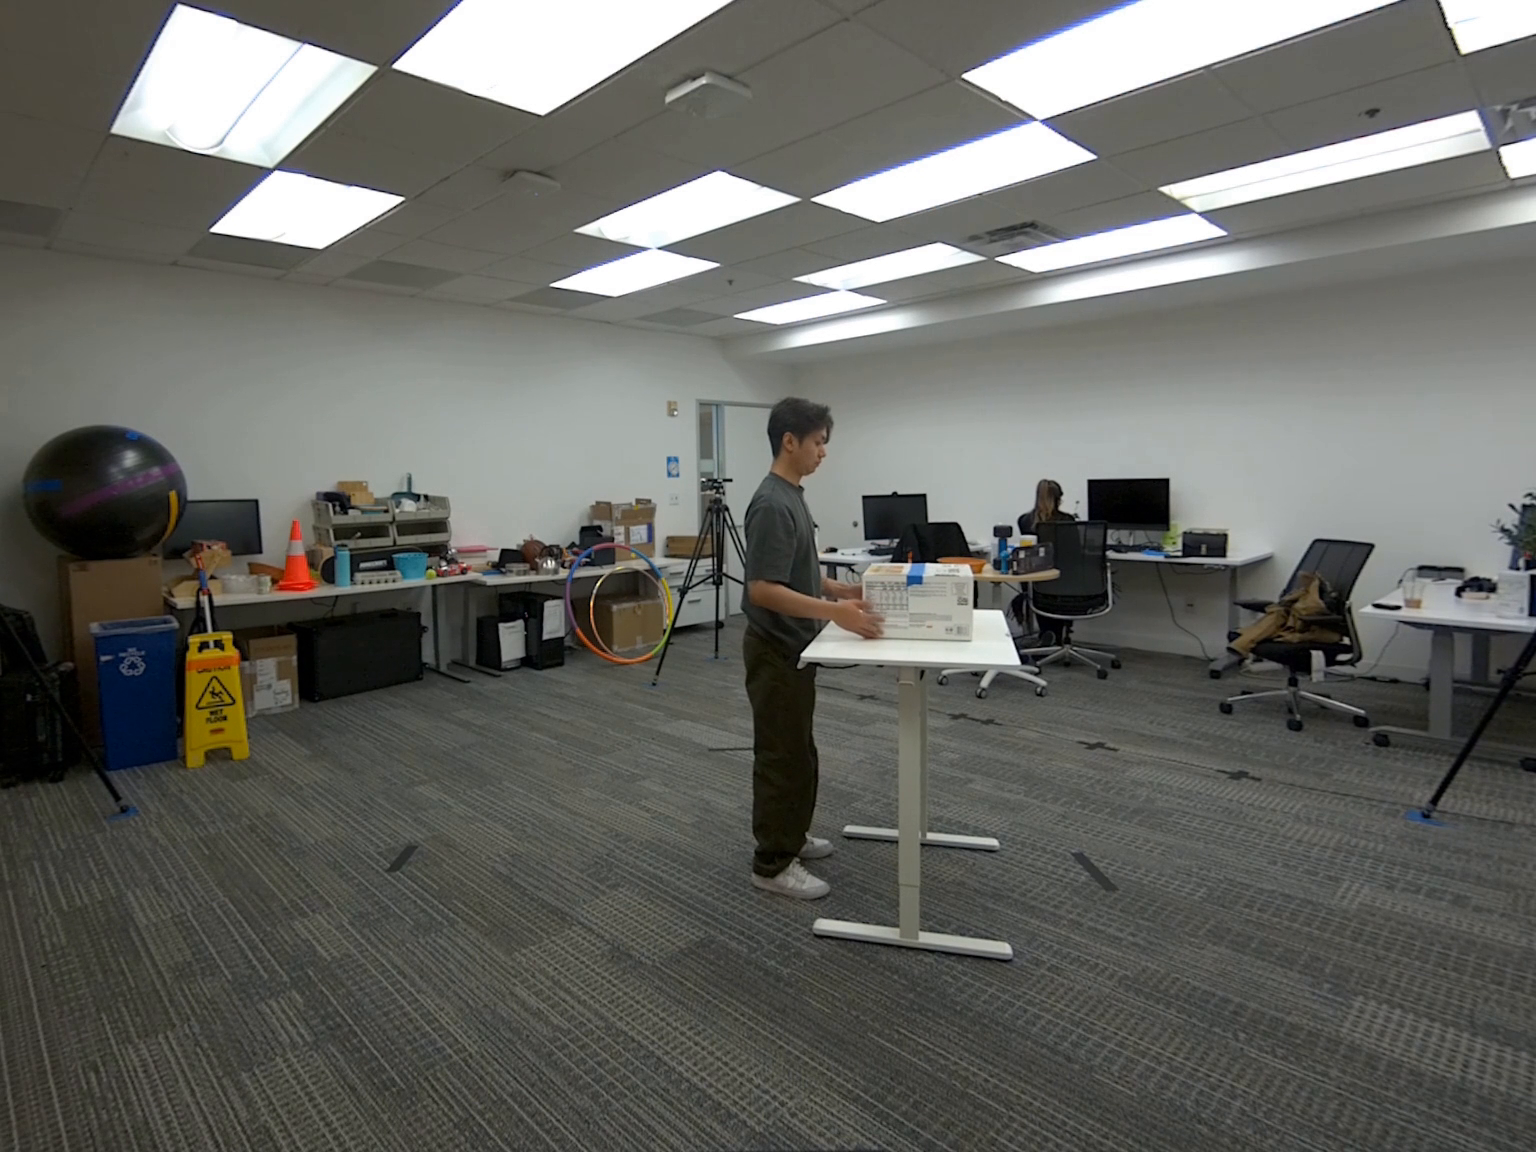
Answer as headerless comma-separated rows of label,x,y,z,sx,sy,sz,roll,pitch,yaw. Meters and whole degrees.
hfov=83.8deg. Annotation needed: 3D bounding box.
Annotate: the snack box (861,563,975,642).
snack box,0.506,0.078,2.863,0.345,0.205,0.401,0,6,13
